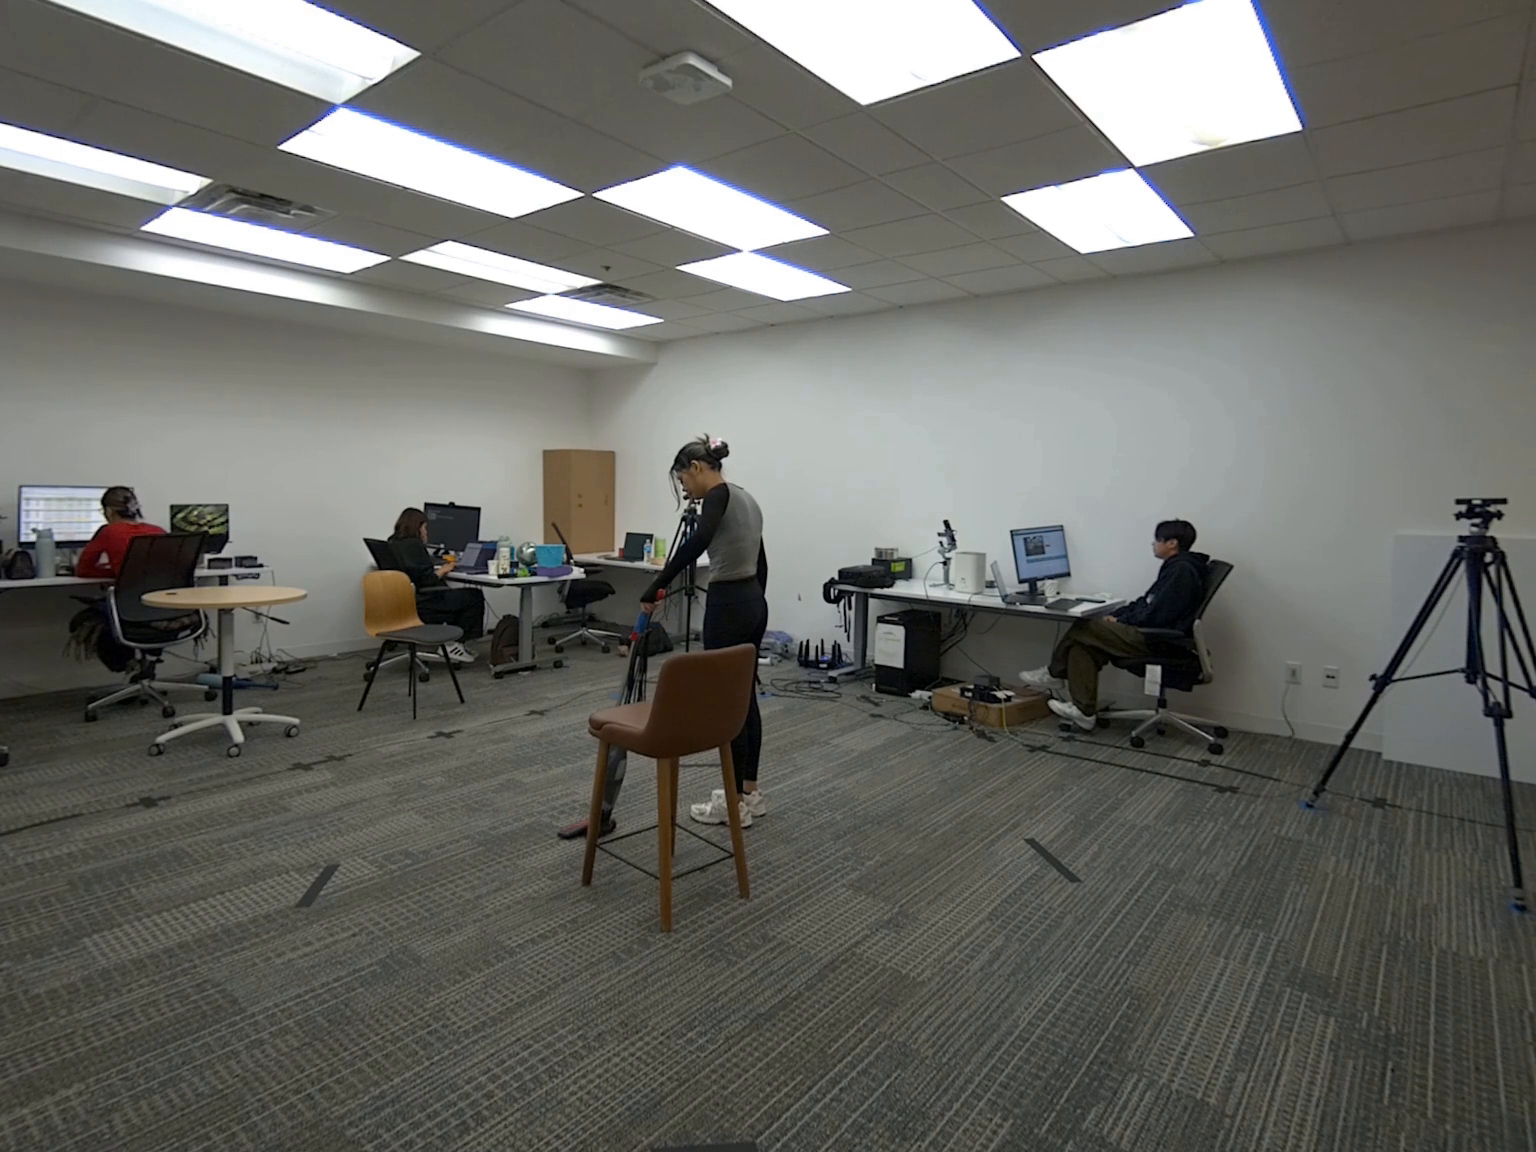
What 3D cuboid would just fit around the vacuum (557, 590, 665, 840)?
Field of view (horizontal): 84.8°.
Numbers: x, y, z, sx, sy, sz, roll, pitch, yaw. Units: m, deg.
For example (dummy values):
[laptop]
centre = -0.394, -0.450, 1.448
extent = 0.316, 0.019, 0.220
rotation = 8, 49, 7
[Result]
[vacuum]
centre = -0.581, 0.550, 3.316
extent = 0.149, 1.041, 0.245
rotation = 25, 15, 33
